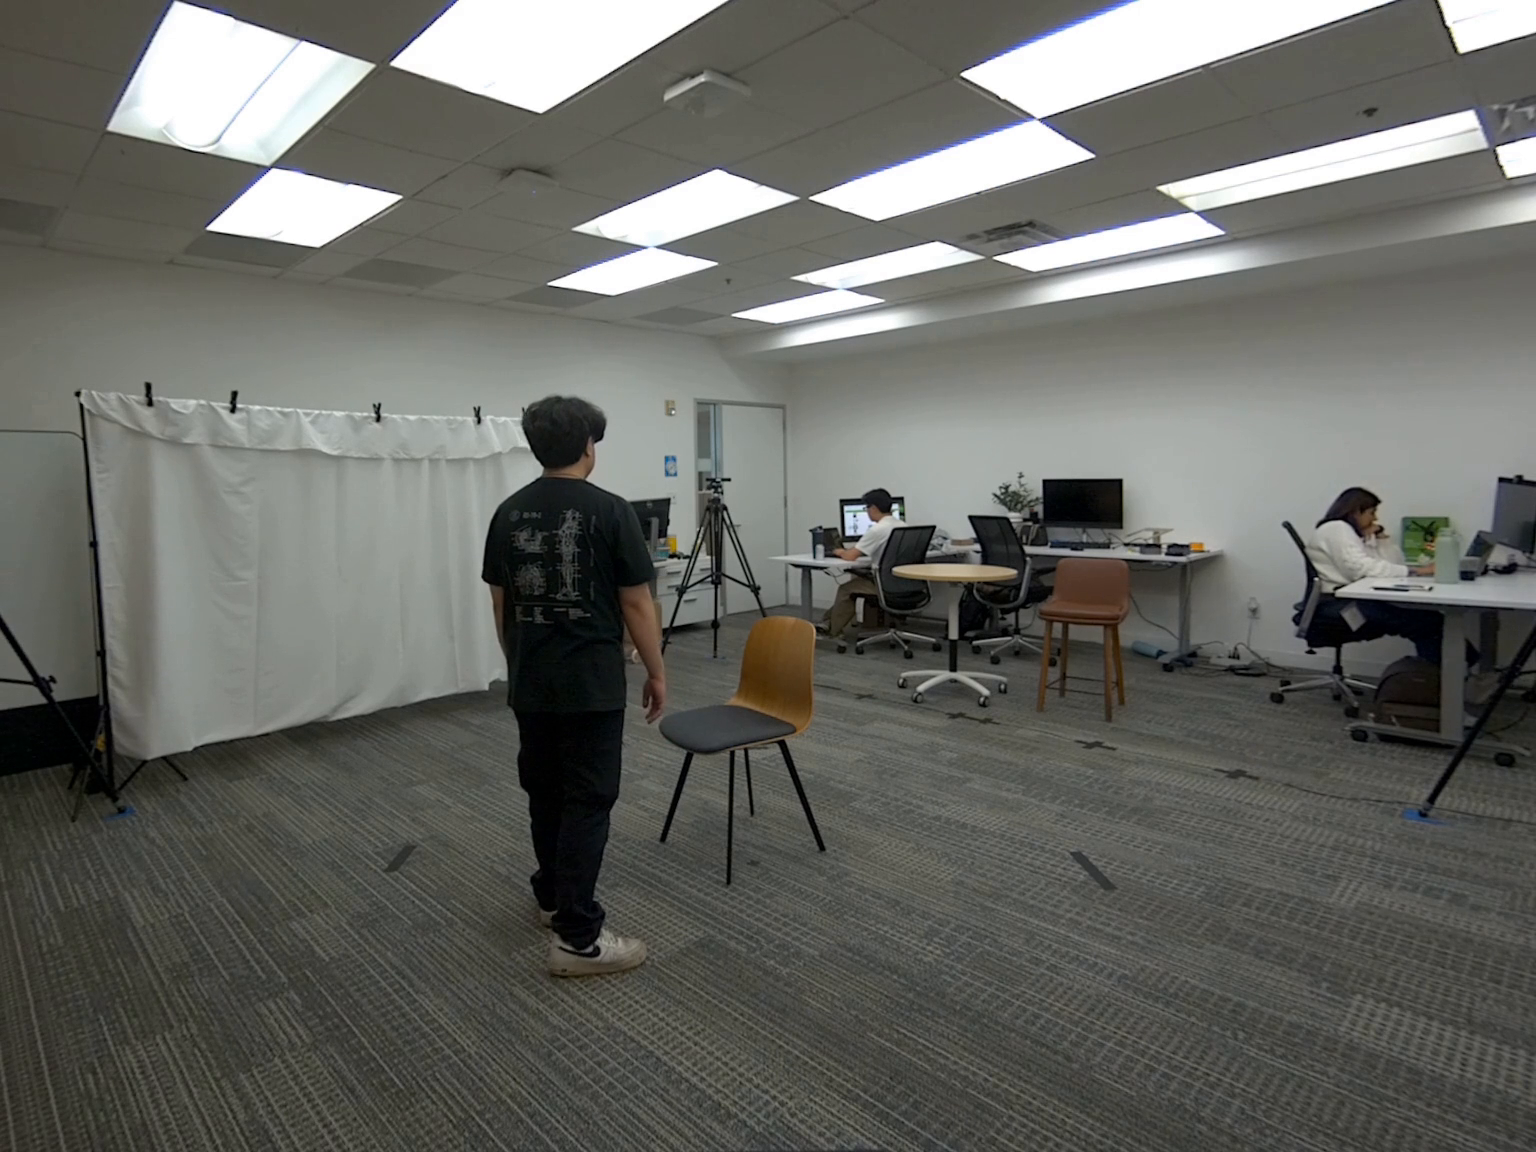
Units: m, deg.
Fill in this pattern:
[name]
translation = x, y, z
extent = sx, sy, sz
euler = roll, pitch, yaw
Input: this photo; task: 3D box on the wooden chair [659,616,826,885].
[wooden chair]
translation = -0.111, 0.604, 3.206
extent = 0.508, 0.876, 0.492
euler = 1, 2, -38
